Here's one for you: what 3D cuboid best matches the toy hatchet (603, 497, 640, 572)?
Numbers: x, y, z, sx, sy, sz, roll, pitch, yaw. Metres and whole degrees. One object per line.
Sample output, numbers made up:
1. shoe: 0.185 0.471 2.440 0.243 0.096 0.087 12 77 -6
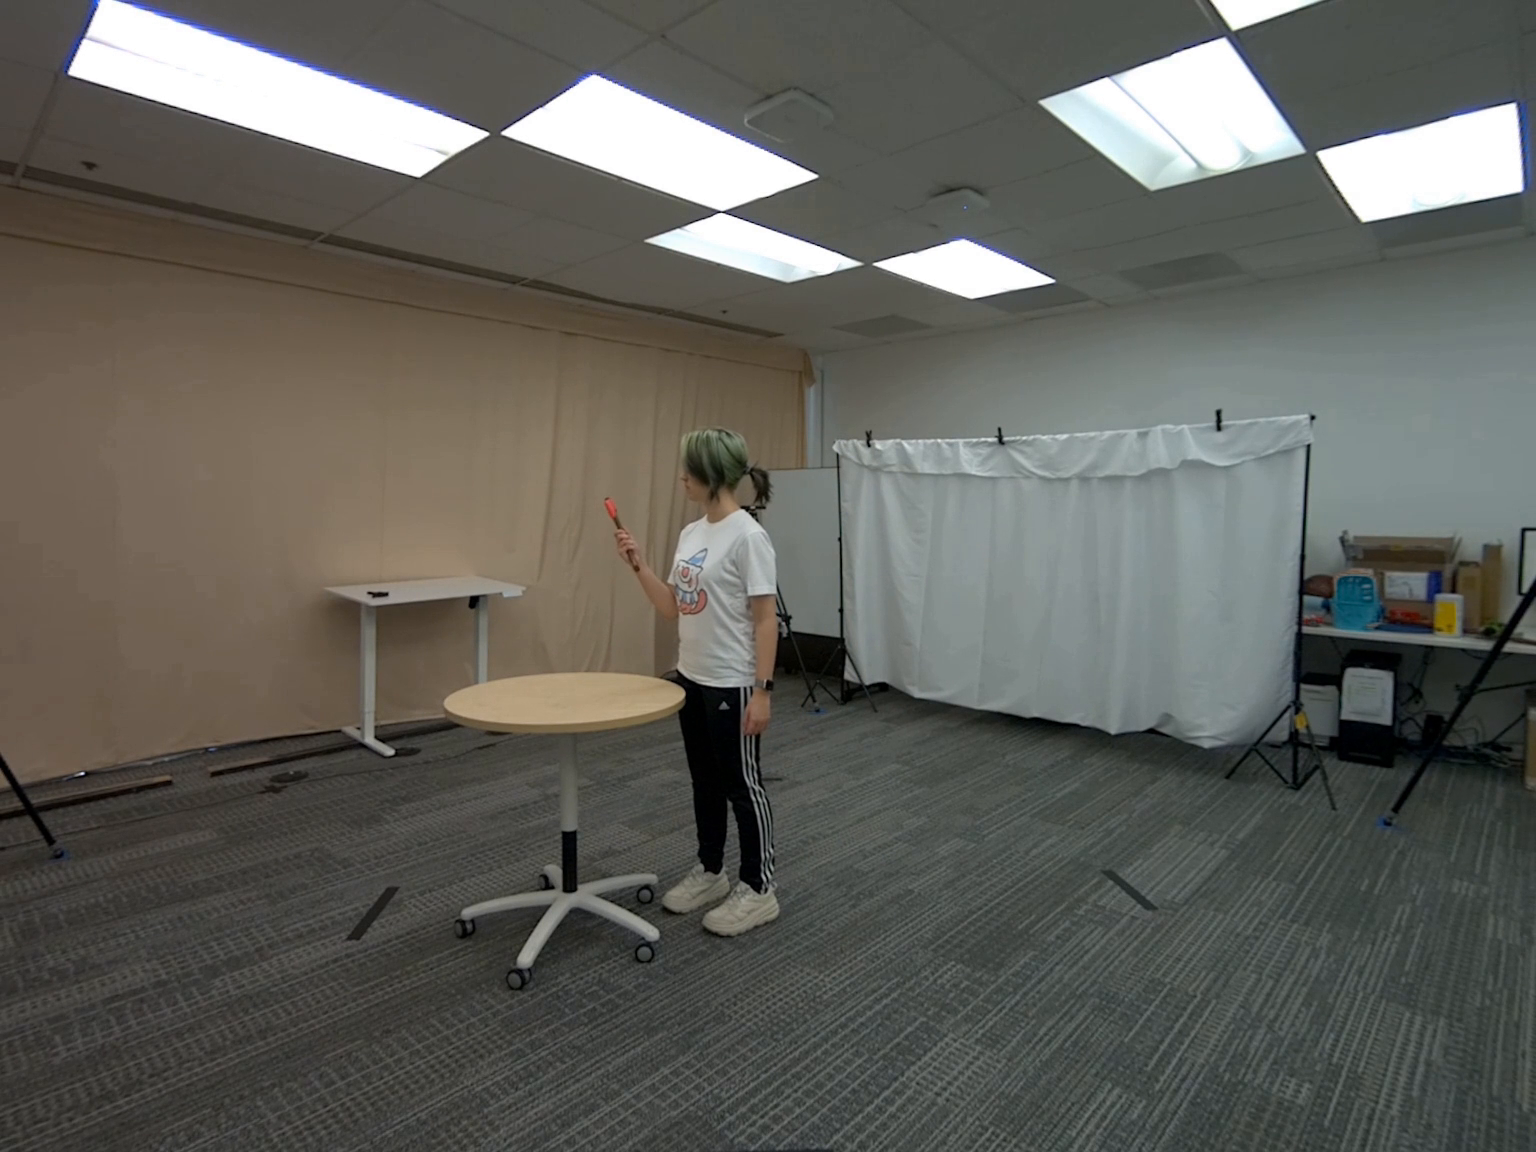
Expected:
1. toy hatchet: -0.491 -0.151 2.812 0.029 0.276 0.128 -24 -24 -3
